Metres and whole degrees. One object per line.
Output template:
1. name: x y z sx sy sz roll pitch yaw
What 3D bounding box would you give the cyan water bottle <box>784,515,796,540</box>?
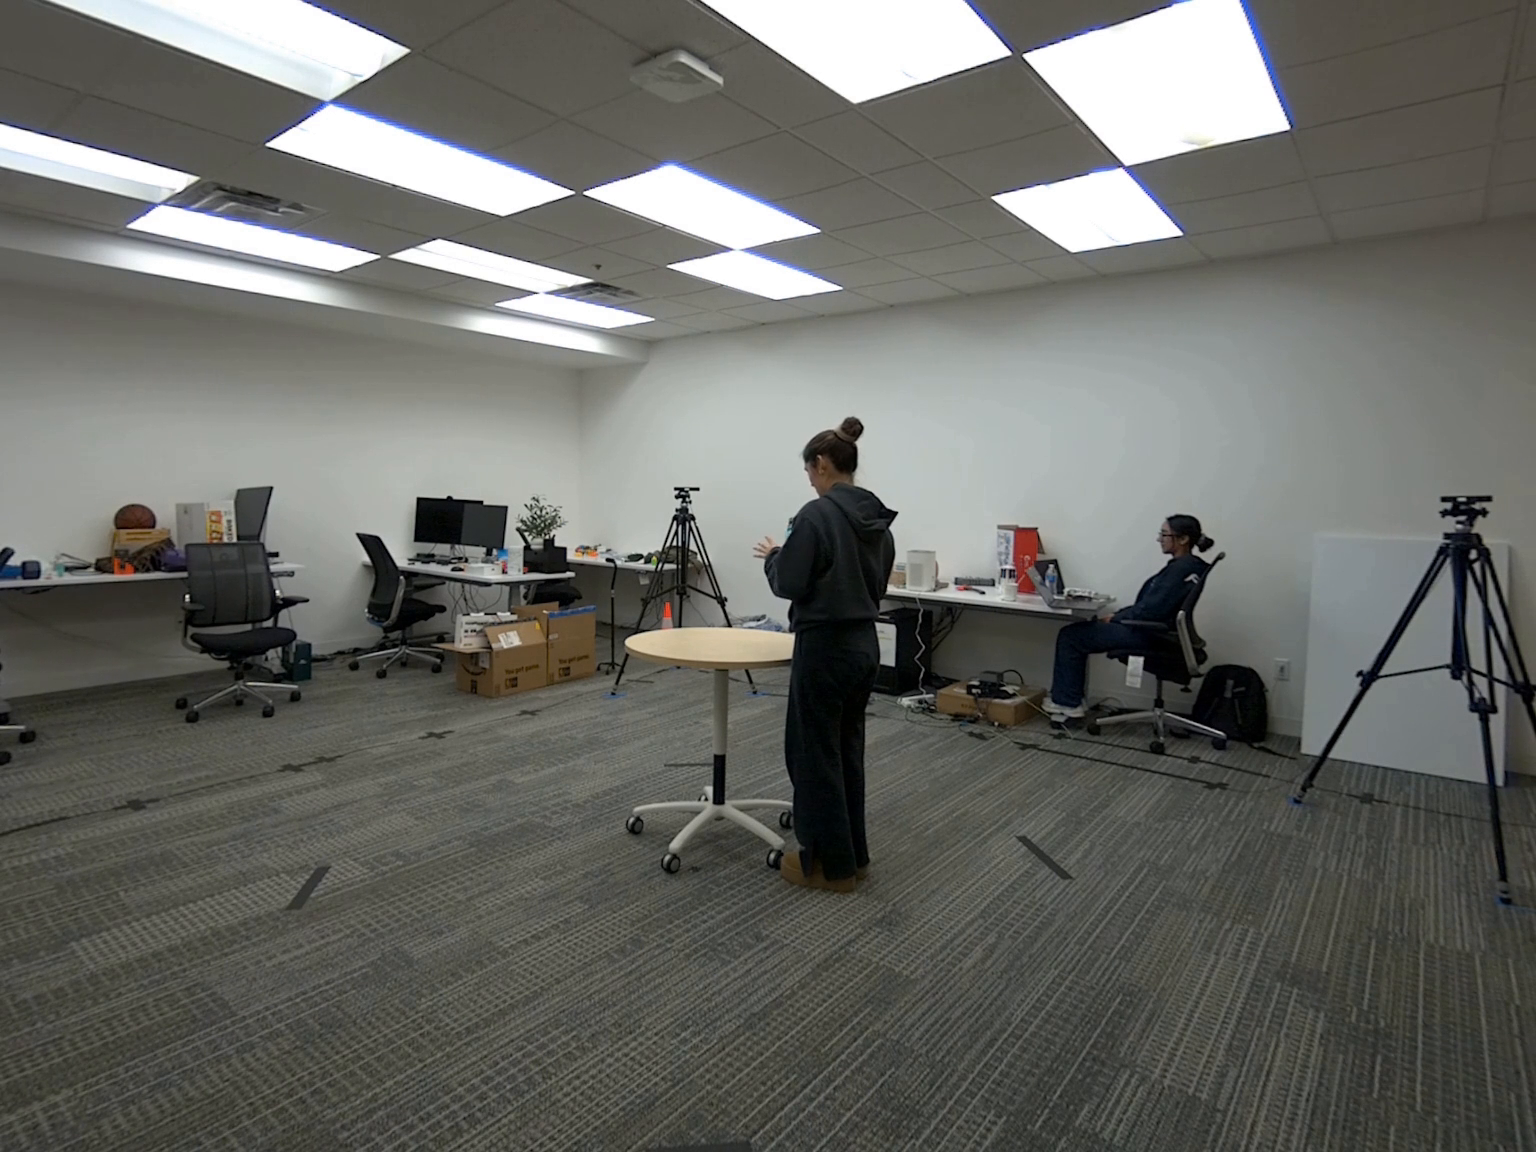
1. cyan water bottle: 0.107 -0.087 3.274 0.092 0.288 0.091 1 -19 -1
